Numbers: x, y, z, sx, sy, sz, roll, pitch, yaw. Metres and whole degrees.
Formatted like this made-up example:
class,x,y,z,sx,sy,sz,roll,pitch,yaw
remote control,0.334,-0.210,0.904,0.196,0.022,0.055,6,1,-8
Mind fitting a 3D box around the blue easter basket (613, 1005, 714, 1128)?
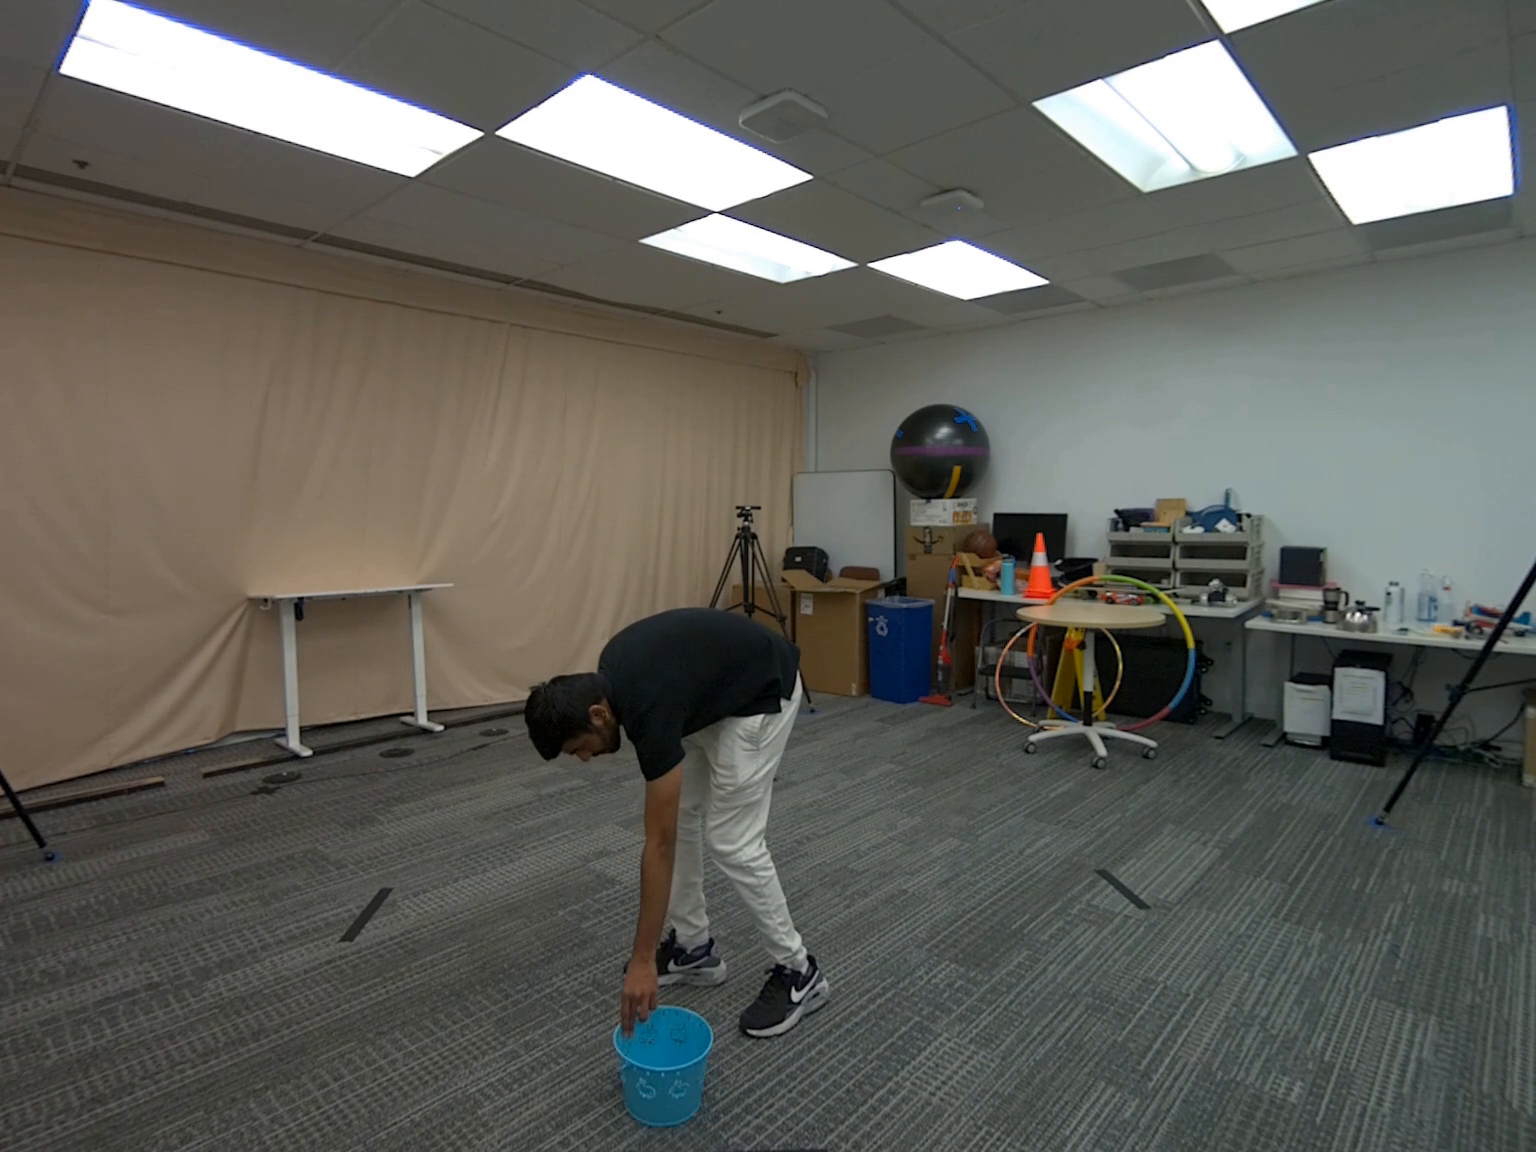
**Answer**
class,x,y,z,sx,sy,sz,roll,pitch,yaw
blue easter basket,-0.243,1.147,1.980,0.243,0.155,0.244,0,5,-2
